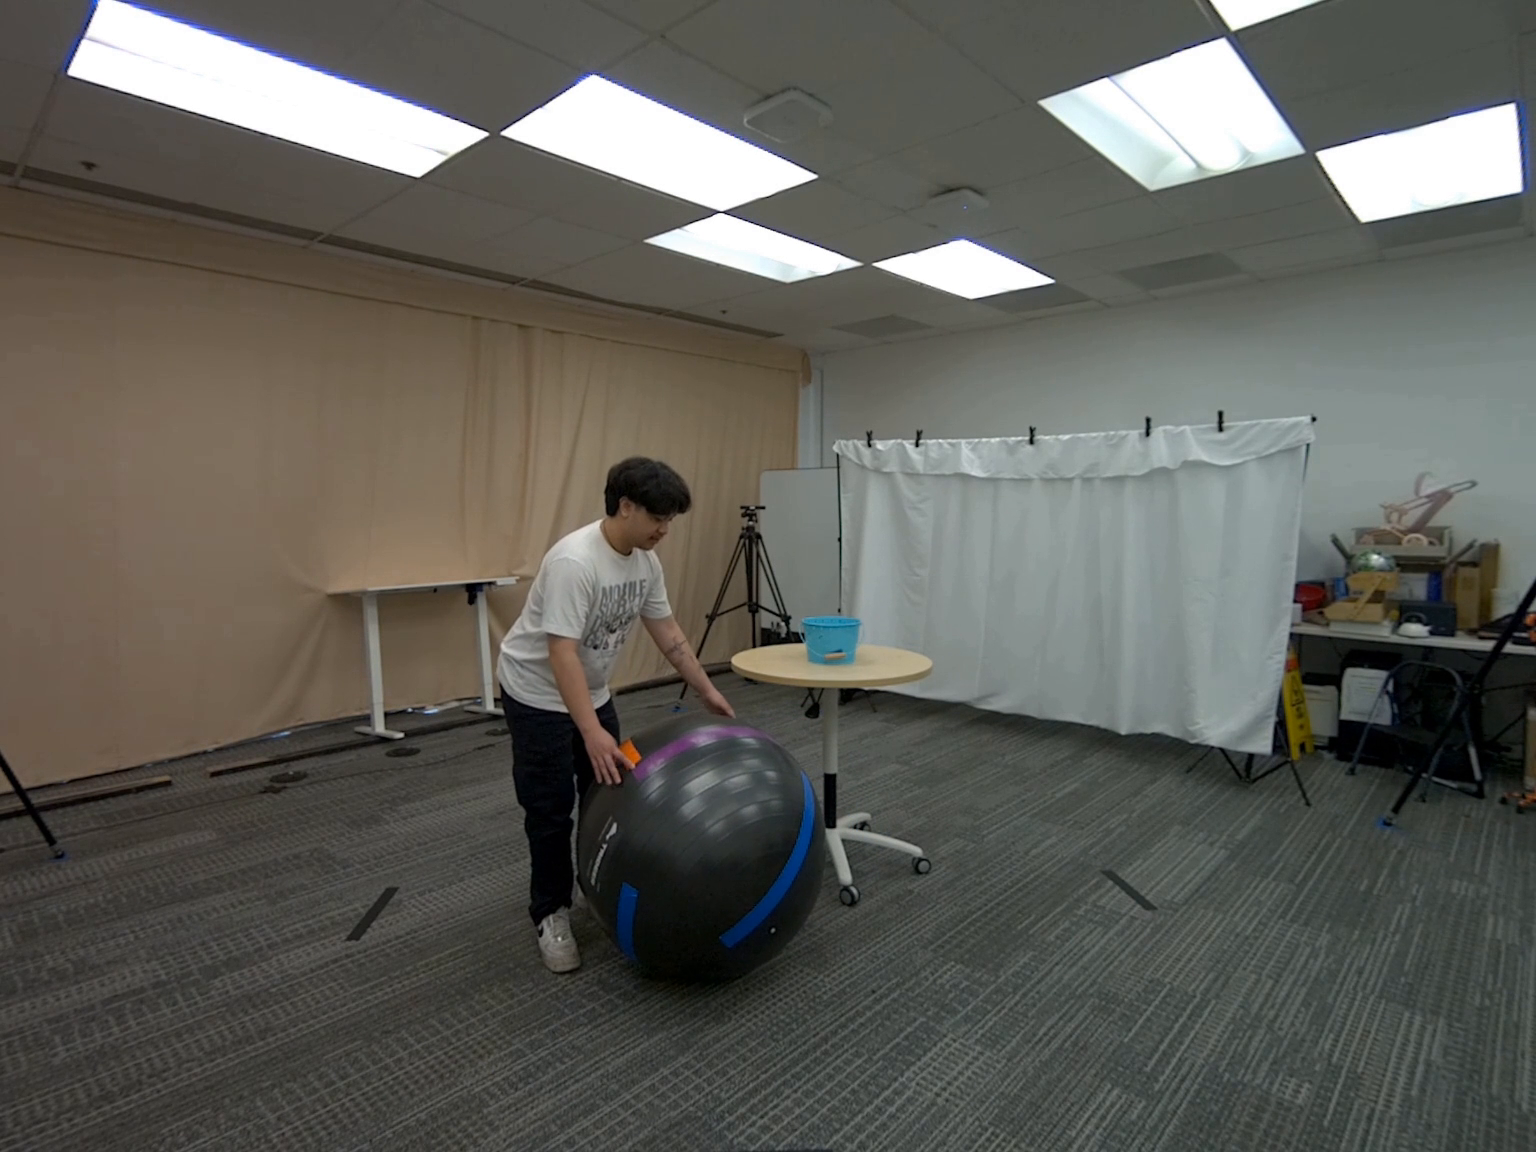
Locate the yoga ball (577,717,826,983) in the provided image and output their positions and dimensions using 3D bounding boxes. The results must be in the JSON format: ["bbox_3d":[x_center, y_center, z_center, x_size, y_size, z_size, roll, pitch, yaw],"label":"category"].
[{"bbox_3d":[-0.195,0.817,2.552,0.757,0.756,0.761,0,4,-2],"label":"yoga ball"}]
